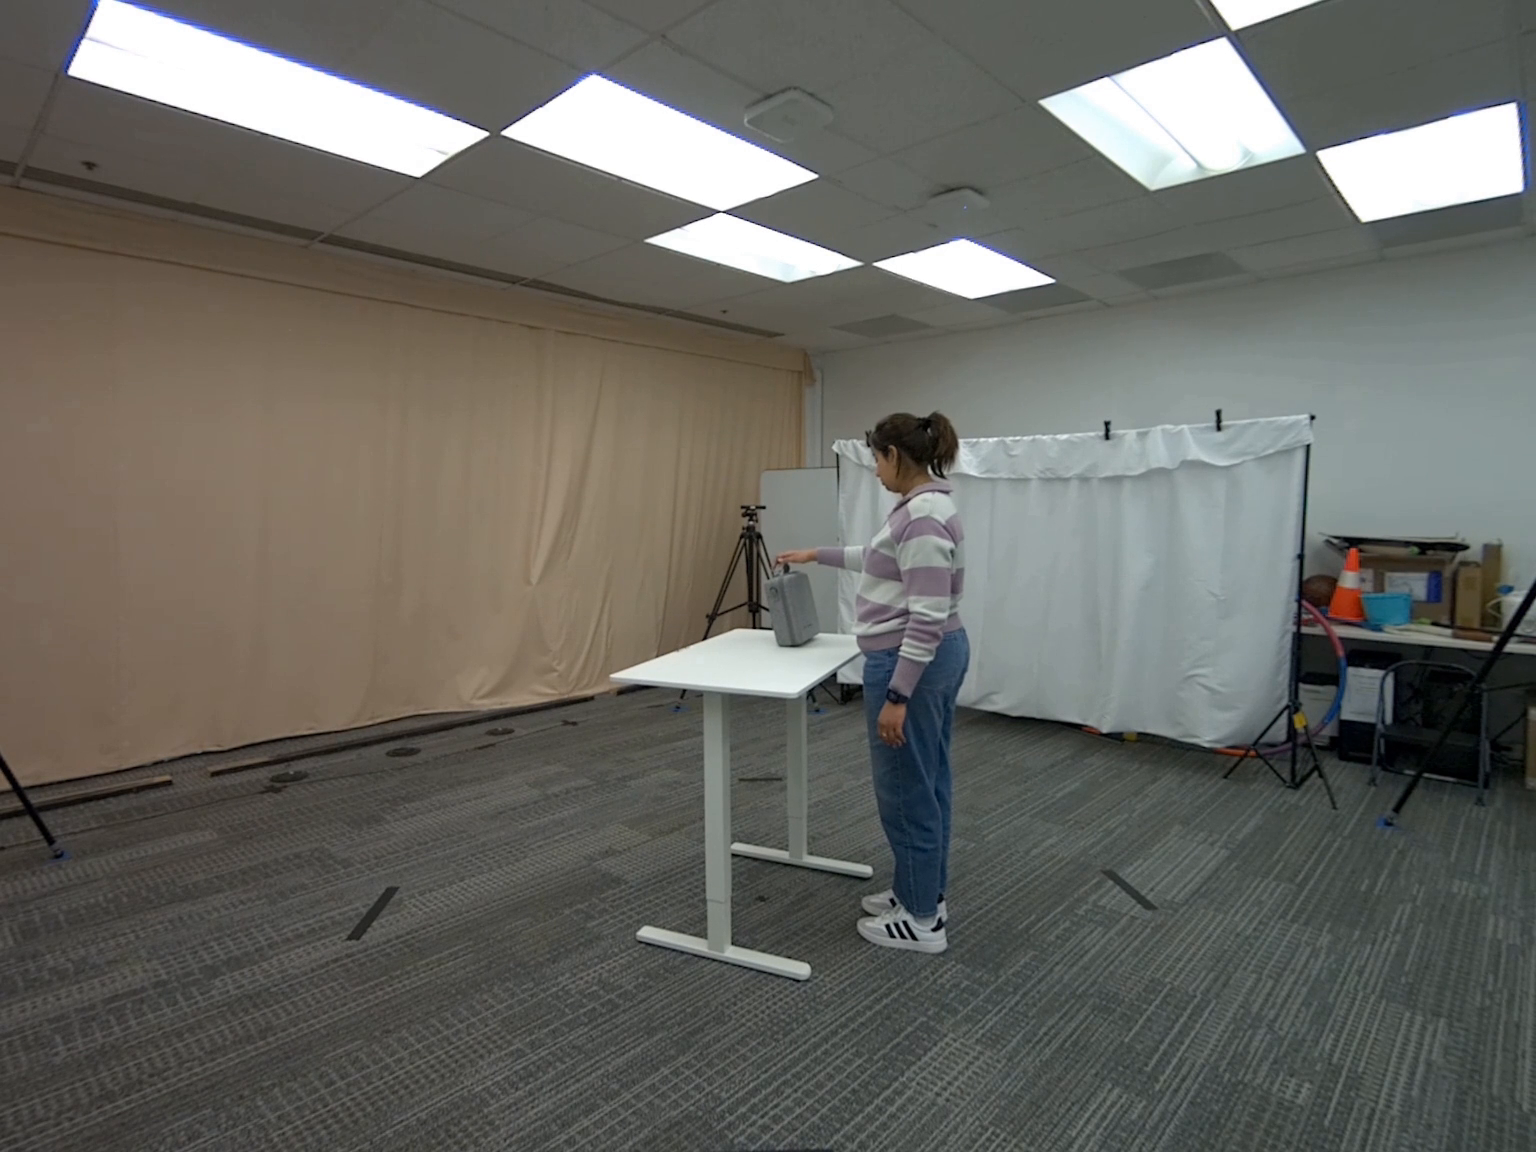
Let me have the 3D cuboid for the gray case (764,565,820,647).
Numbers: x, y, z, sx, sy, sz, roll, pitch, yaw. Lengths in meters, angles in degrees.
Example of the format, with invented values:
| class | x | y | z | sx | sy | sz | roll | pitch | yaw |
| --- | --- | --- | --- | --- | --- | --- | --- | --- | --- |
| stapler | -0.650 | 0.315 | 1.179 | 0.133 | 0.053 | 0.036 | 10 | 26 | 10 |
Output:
| class | x | y | z | sx | sy | sz | roll | pitch | yaw |
| --- | --- | --- | --- | --- | --- | --- | --- | --- | --- |
| gray case | 0.092 | 0.118 | 3.108 | 0.106 | 0.261 | 0.251 | -12 | -2 | 21 |
